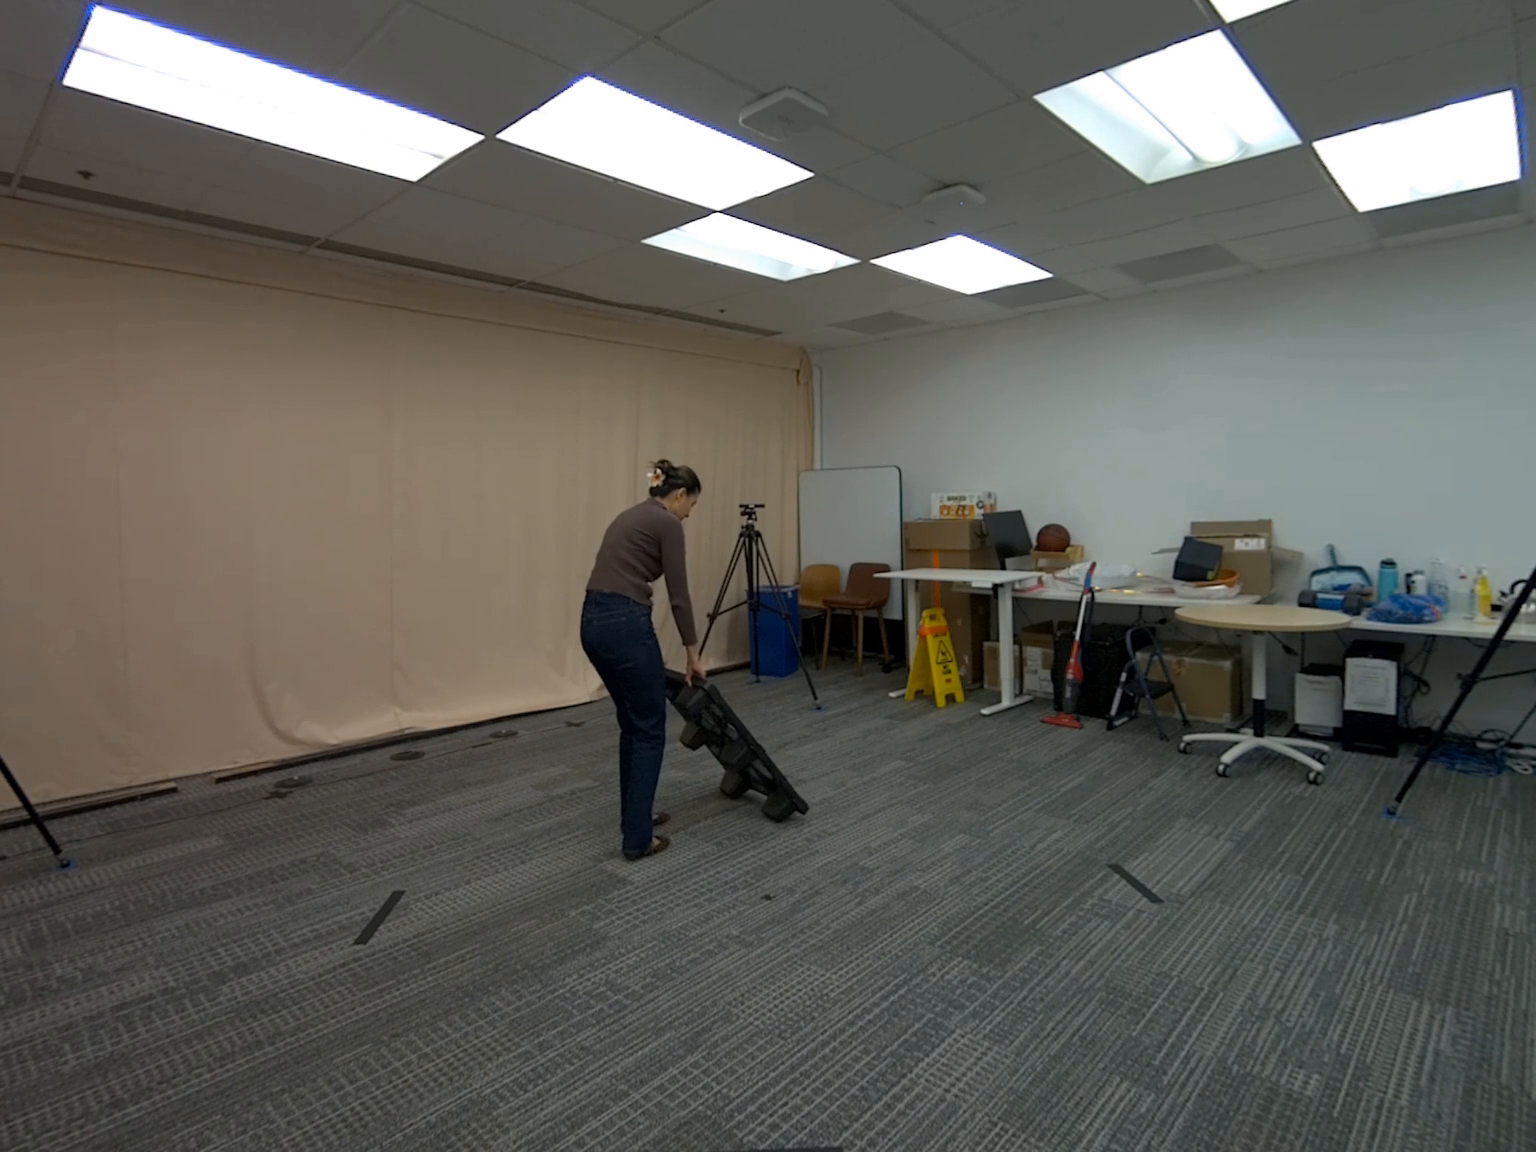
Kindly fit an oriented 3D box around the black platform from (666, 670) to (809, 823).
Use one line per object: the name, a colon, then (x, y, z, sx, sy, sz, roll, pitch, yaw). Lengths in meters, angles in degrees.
black platform: (-0.233, 0.744, 3.774, 0.142, 0.788, 0.623, -45, 23, -25)
